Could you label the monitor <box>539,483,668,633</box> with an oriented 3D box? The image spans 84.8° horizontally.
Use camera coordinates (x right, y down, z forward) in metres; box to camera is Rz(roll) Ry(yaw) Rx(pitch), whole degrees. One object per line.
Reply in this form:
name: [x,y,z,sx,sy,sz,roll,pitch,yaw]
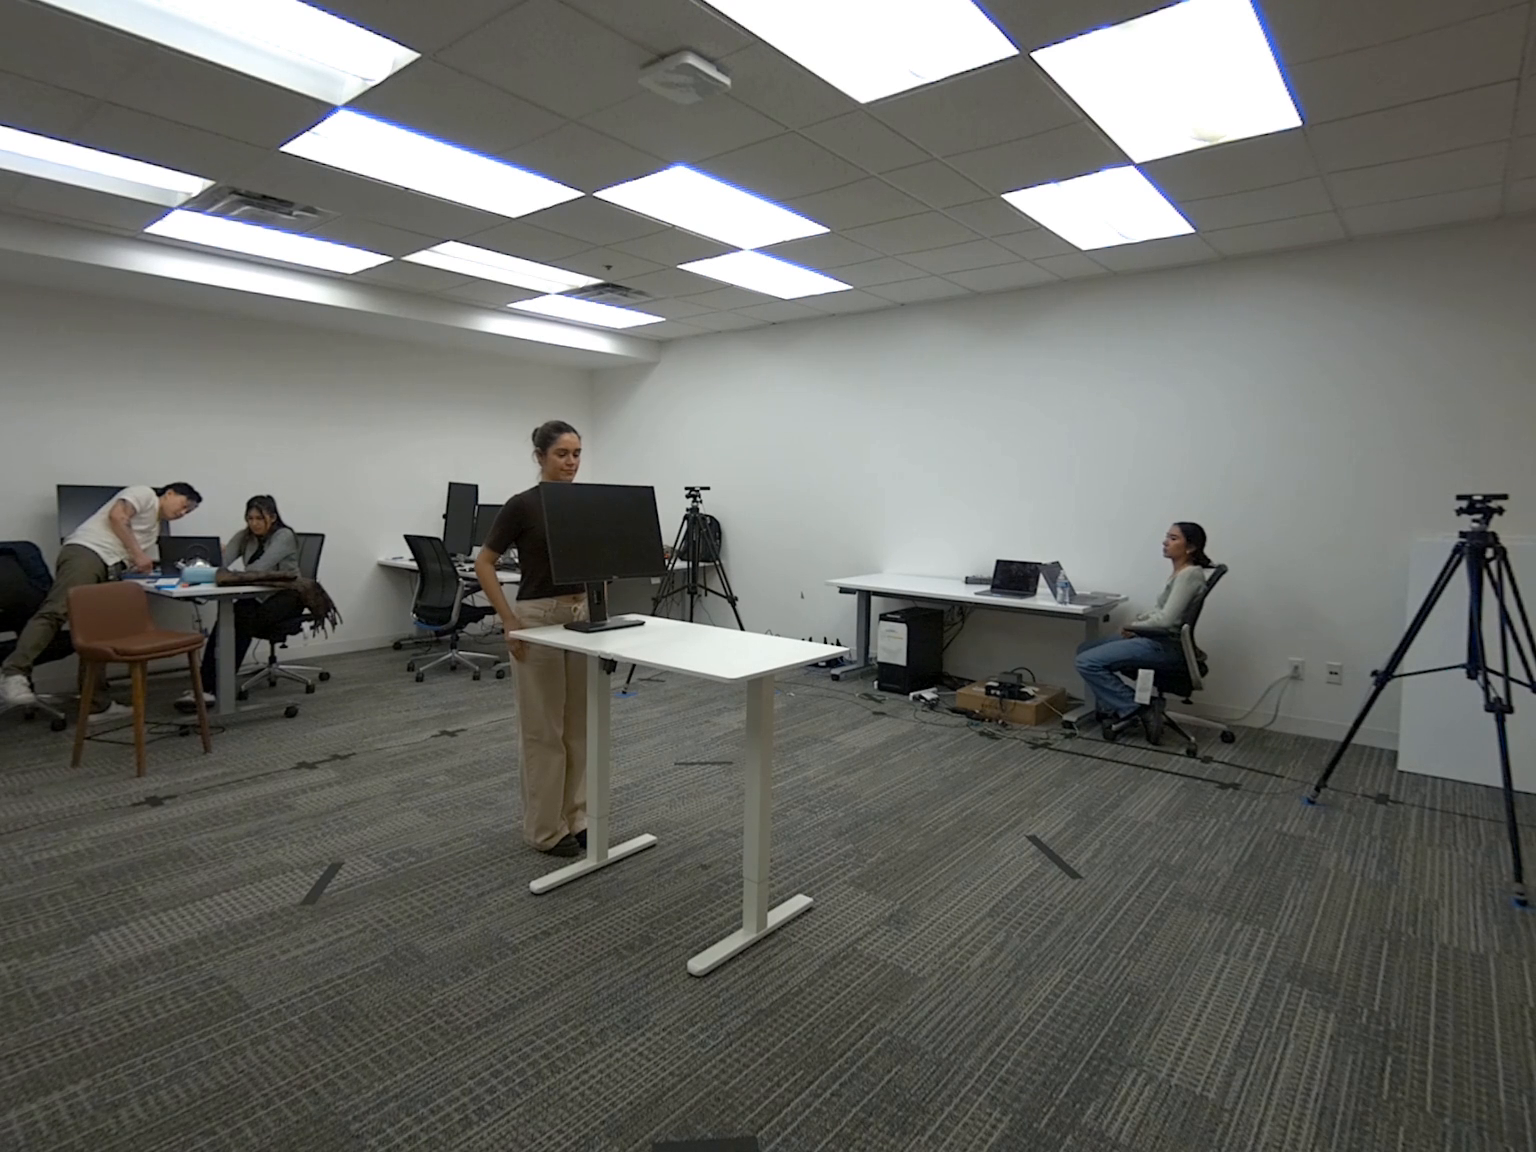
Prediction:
monitor: [-0.611,-0.076,3.056,0.180,0.514,0.514,7,5,37]
